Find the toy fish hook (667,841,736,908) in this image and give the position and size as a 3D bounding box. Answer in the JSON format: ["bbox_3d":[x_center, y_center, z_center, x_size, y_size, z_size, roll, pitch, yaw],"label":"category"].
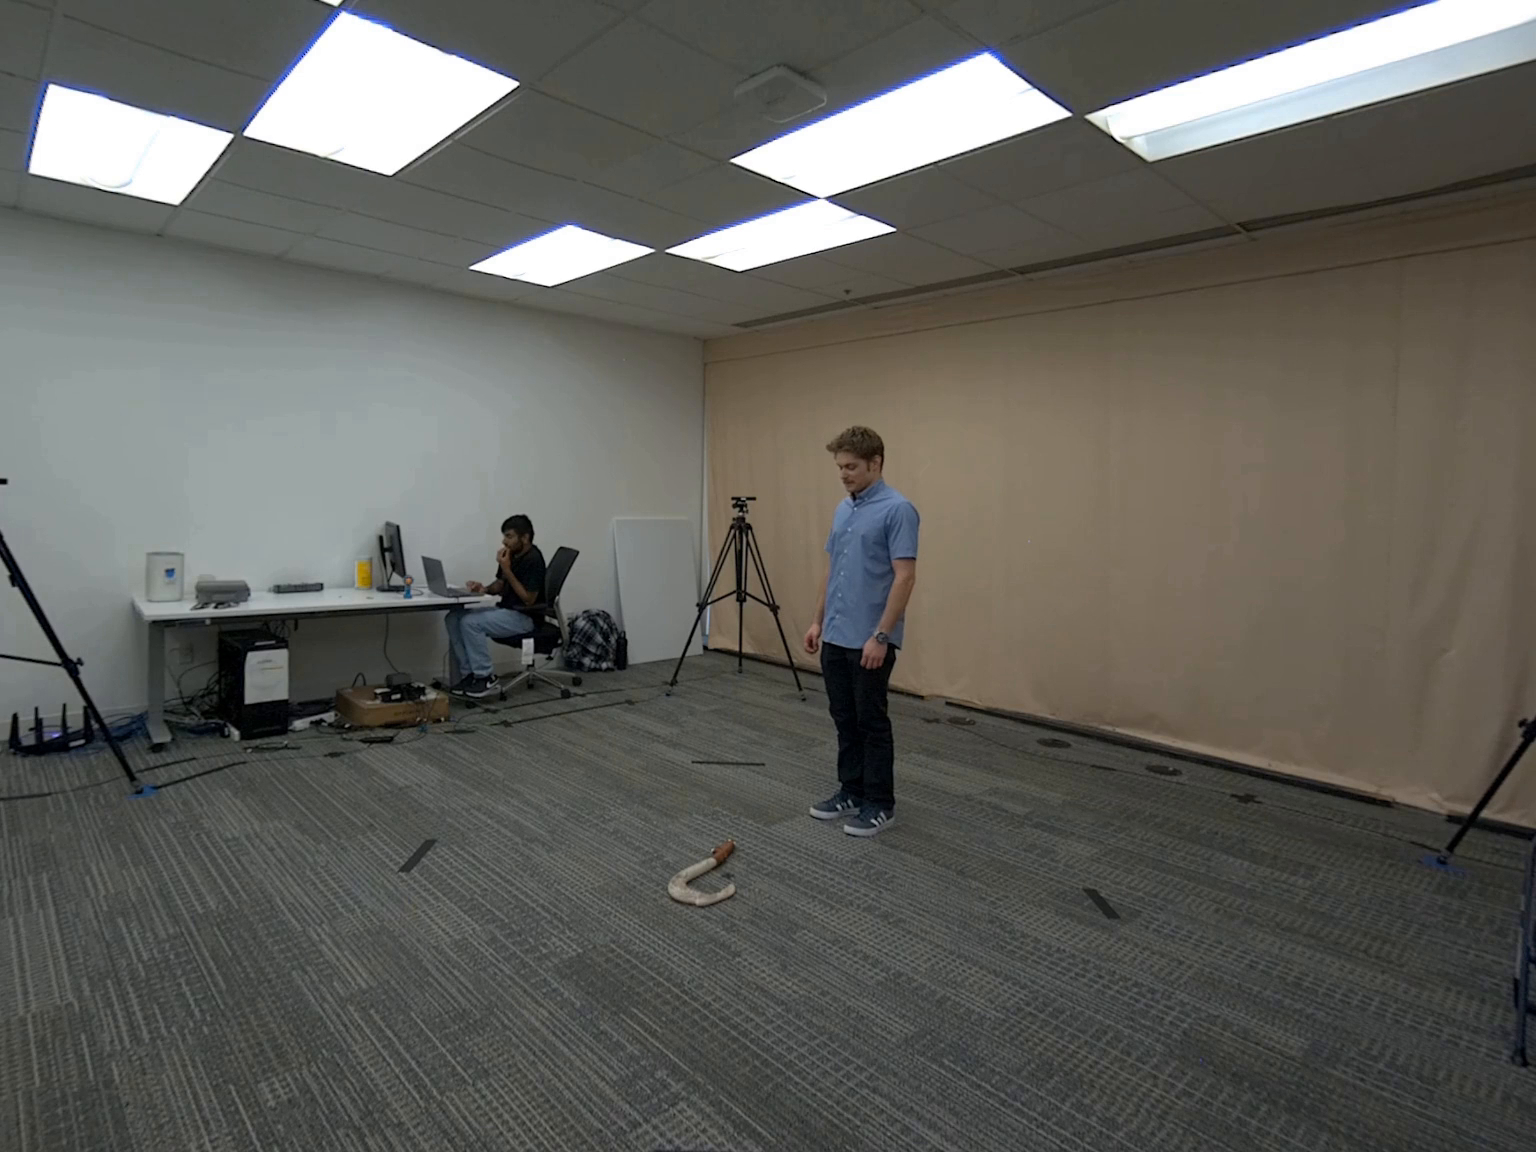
[{"bbox_3d":[-0.191,1.092,3.102,0.229,0.048,0.499,12,9,21],"label":"toy fish hook"}]
